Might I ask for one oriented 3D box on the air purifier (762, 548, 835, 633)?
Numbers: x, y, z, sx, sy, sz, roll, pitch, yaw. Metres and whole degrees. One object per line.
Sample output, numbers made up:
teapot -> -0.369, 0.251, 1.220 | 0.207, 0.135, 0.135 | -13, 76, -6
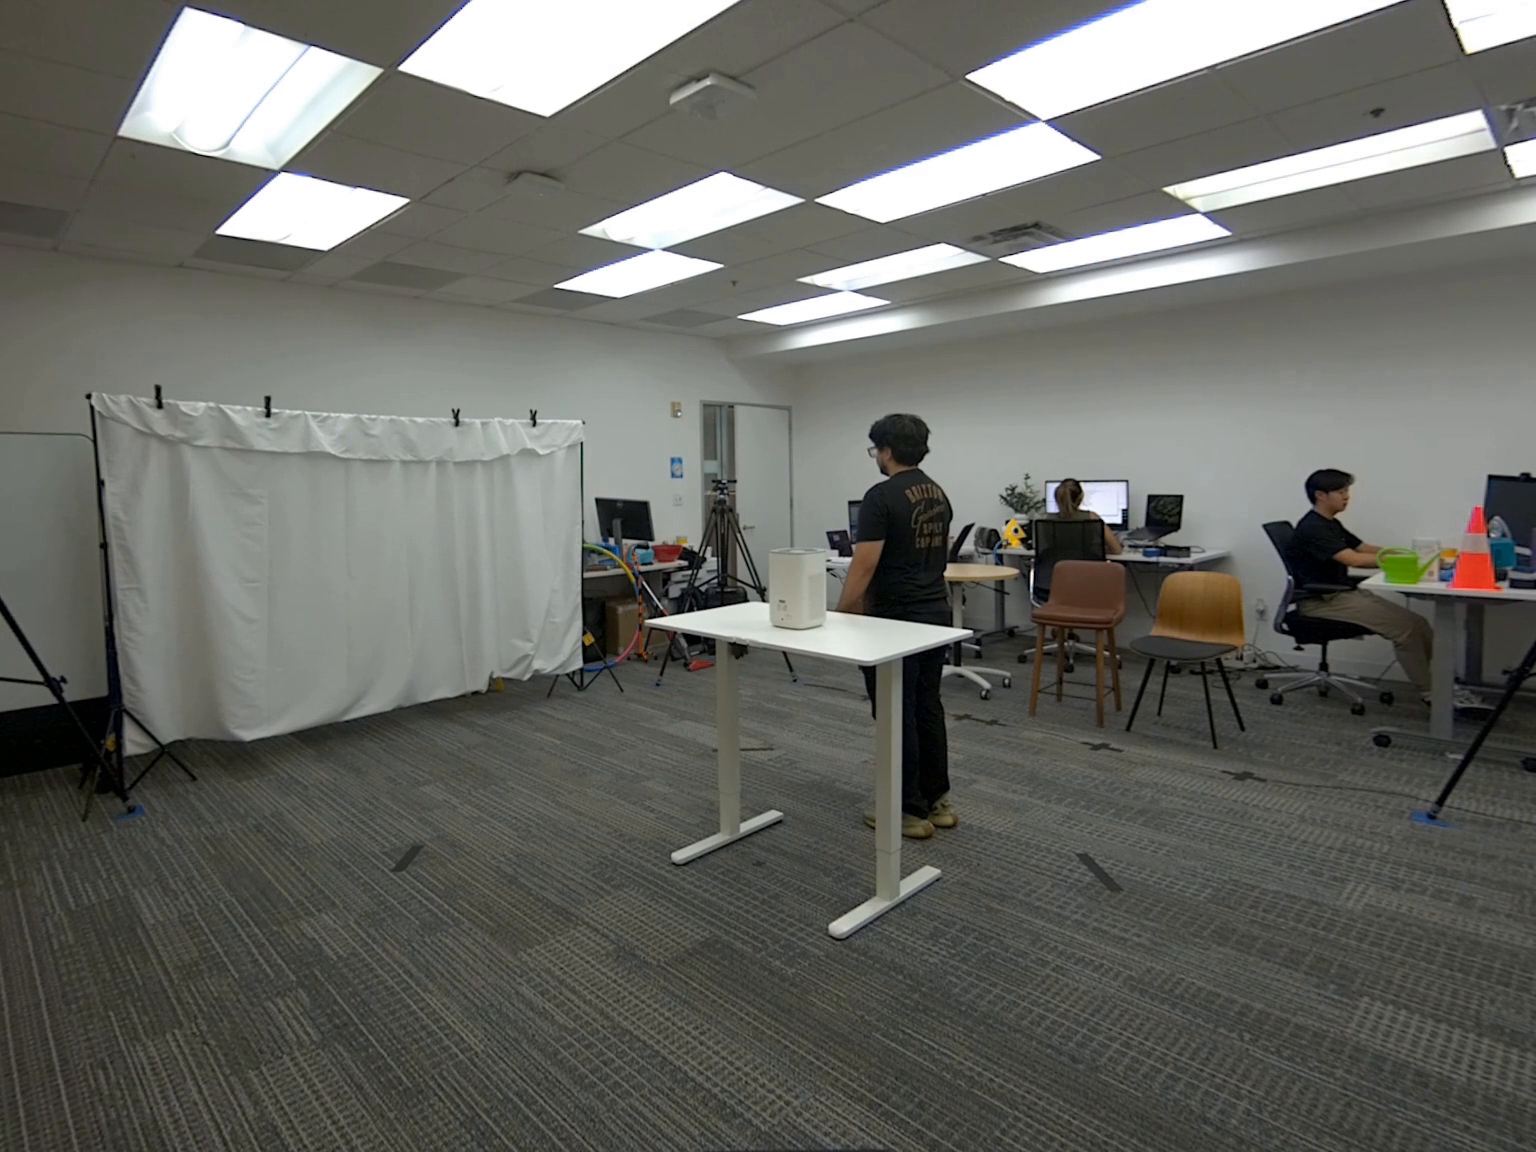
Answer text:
air purifier -> 0.104, 0.044, 2.986 | 0.176, 0.264, 0.167 | 2, 6, 45
